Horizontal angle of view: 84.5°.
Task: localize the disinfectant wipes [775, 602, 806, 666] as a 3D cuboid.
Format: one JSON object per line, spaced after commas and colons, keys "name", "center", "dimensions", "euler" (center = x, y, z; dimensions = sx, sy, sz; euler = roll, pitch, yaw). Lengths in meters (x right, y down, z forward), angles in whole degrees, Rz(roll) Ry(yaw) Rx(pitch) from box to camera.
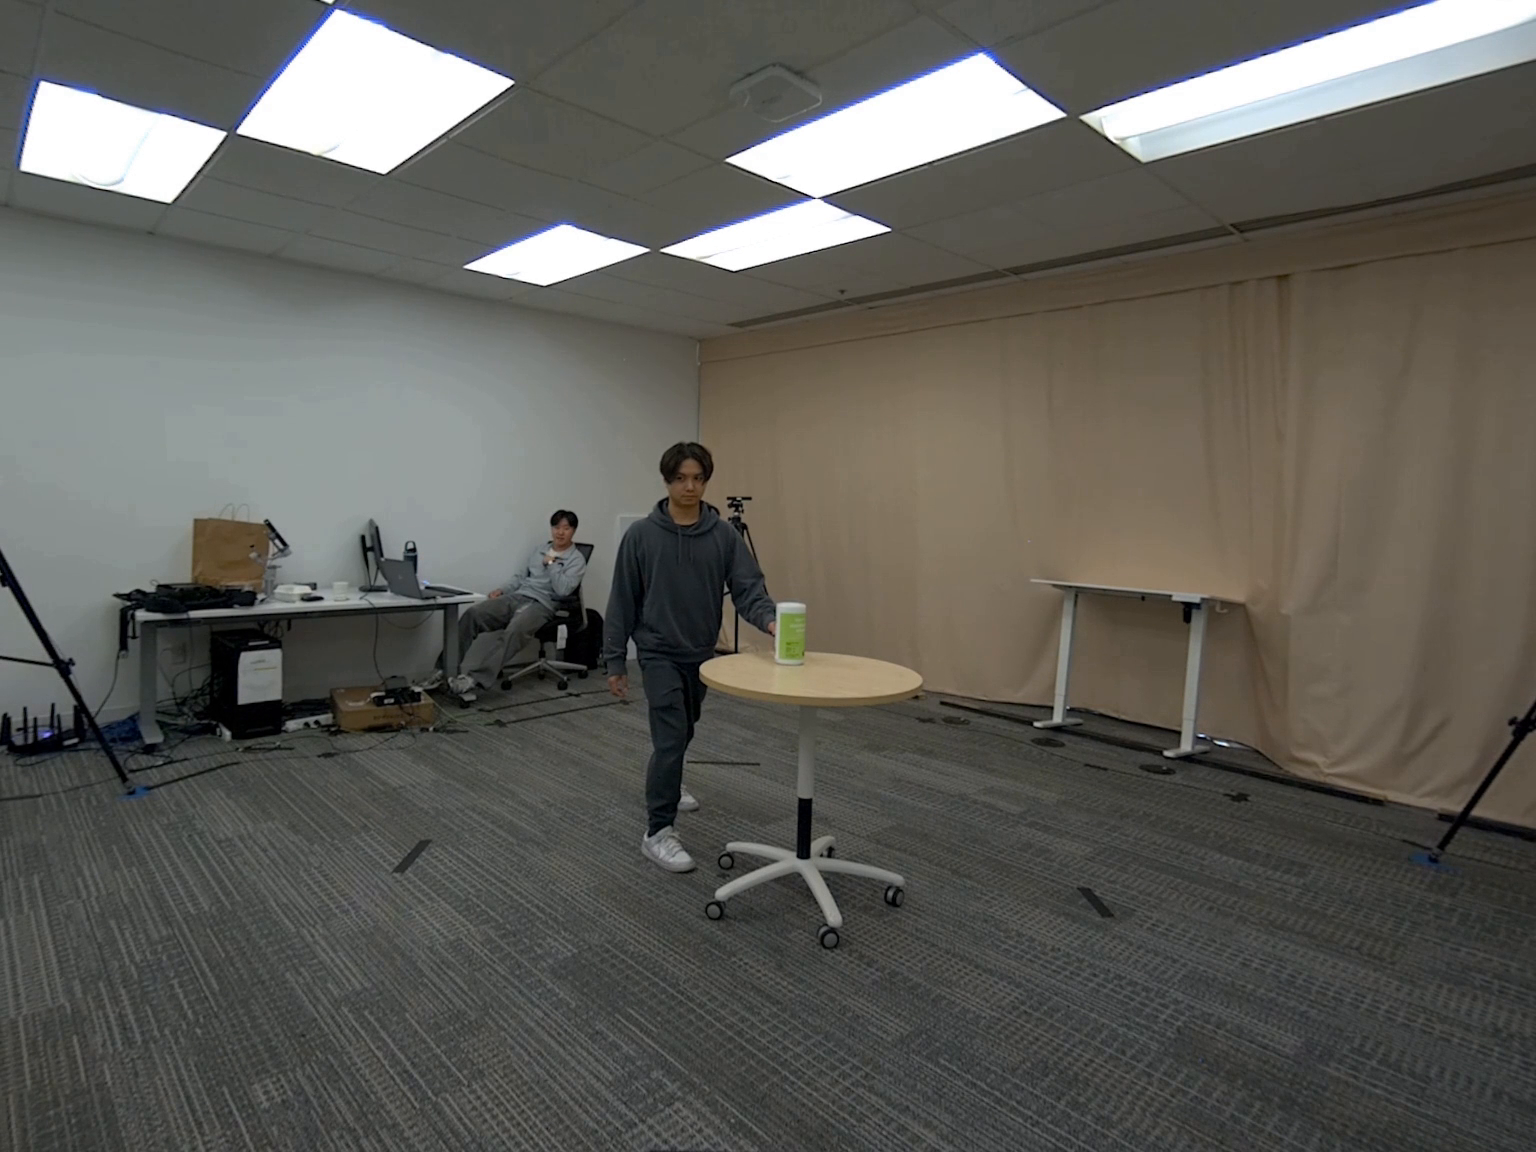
{"name": "disinfectant wipes", "center": [0.071, 0.212, 3.060], "dimensions": [0.118, 0.217, 0.118], "euler": [2, 5, -2]}
